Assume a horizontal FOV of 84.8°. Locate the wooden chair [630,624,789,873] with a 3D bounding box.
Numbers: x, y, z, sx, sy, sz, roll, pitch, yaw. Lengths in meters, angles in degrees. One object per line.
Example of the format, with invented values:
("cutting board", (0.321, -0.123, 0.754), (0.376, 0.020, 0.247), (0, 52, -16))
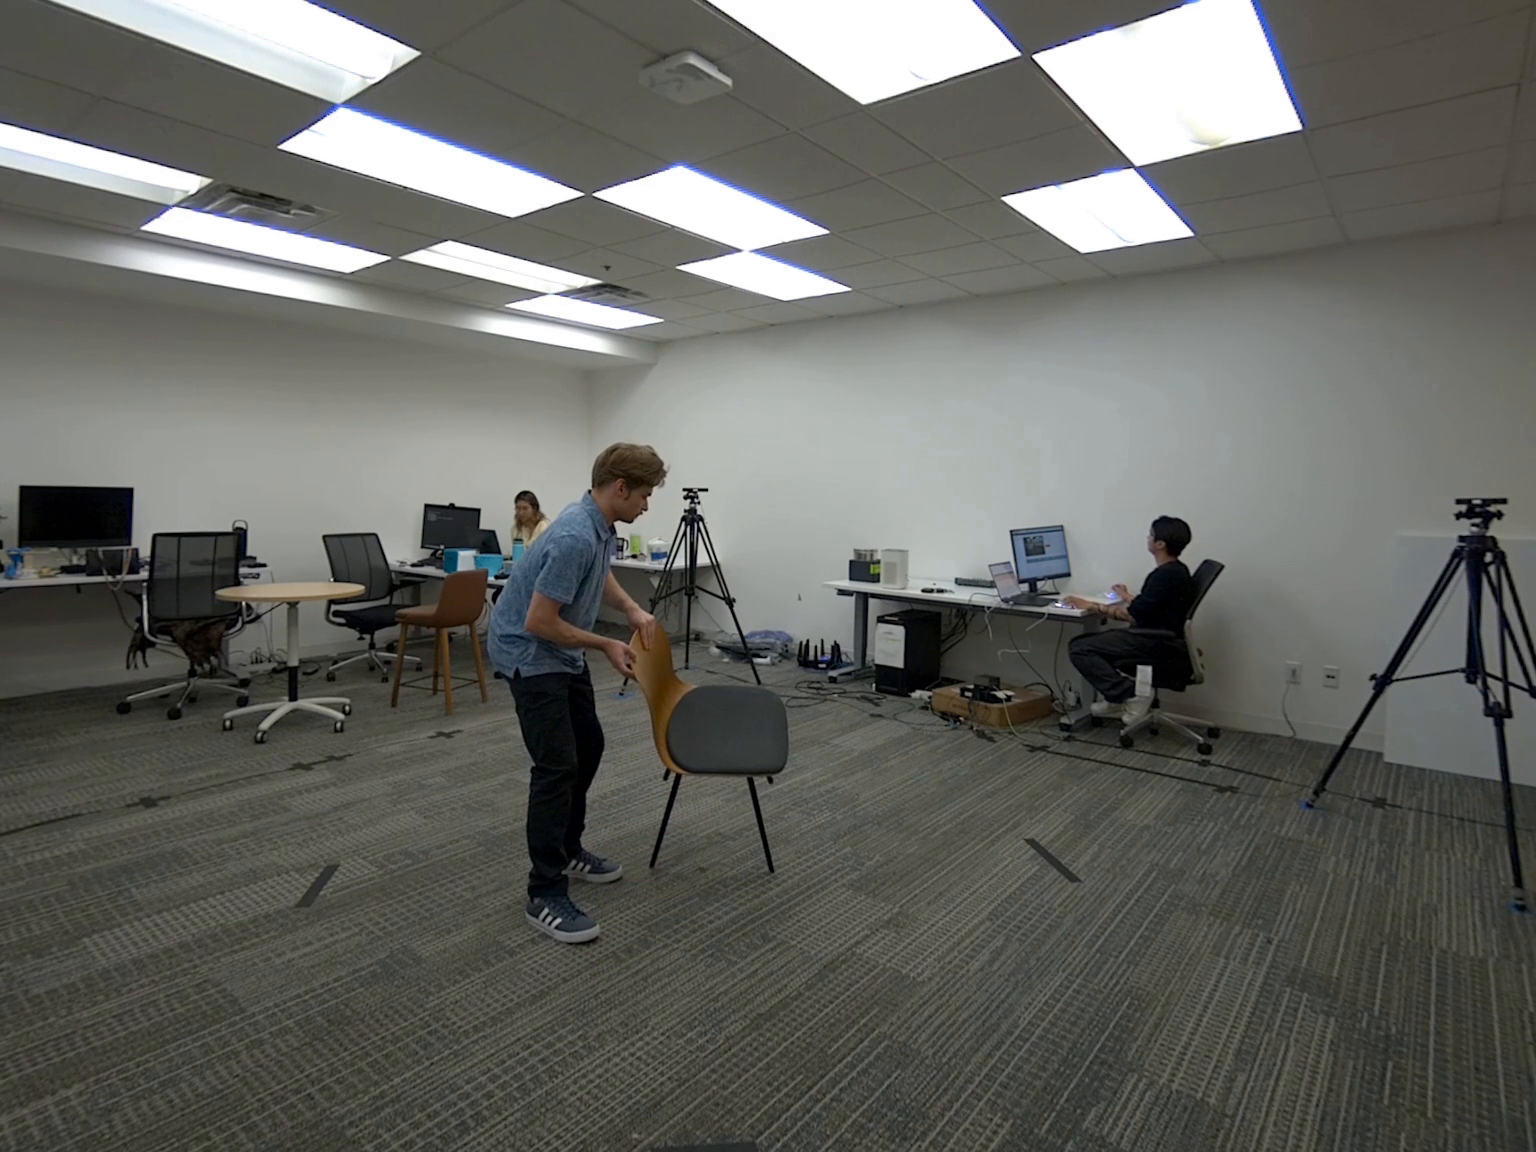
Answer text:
("wooden chair", (-0.196, 0.597, 3.098), (0.526, 0.854, 0.488), (-2, 29, 4))
